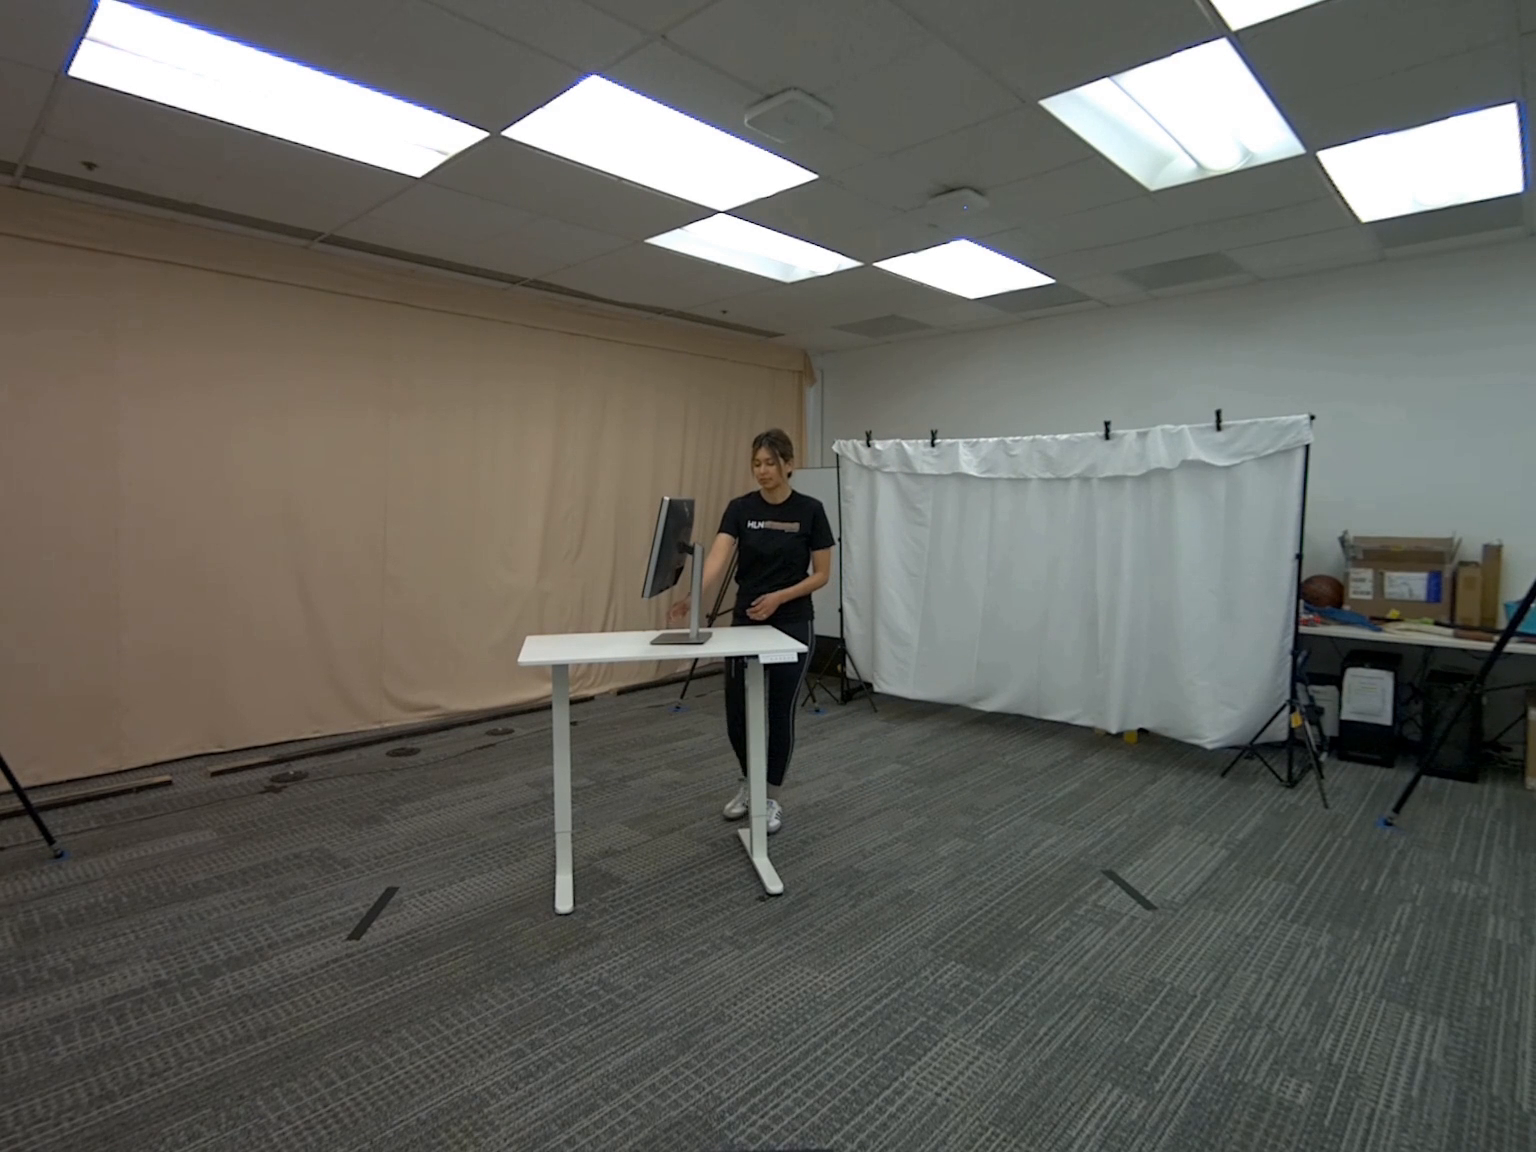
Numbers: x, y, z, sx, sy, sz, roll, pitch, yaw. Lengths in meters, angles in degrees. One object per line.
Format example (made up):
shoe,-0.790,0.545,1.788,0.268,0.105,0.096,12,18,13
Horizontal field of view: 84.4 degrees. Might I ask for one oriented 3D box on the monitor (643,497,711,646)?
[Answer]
monitor,-0.327,-0.019,3.194,0.188,0.521,0.538,0,4,2
